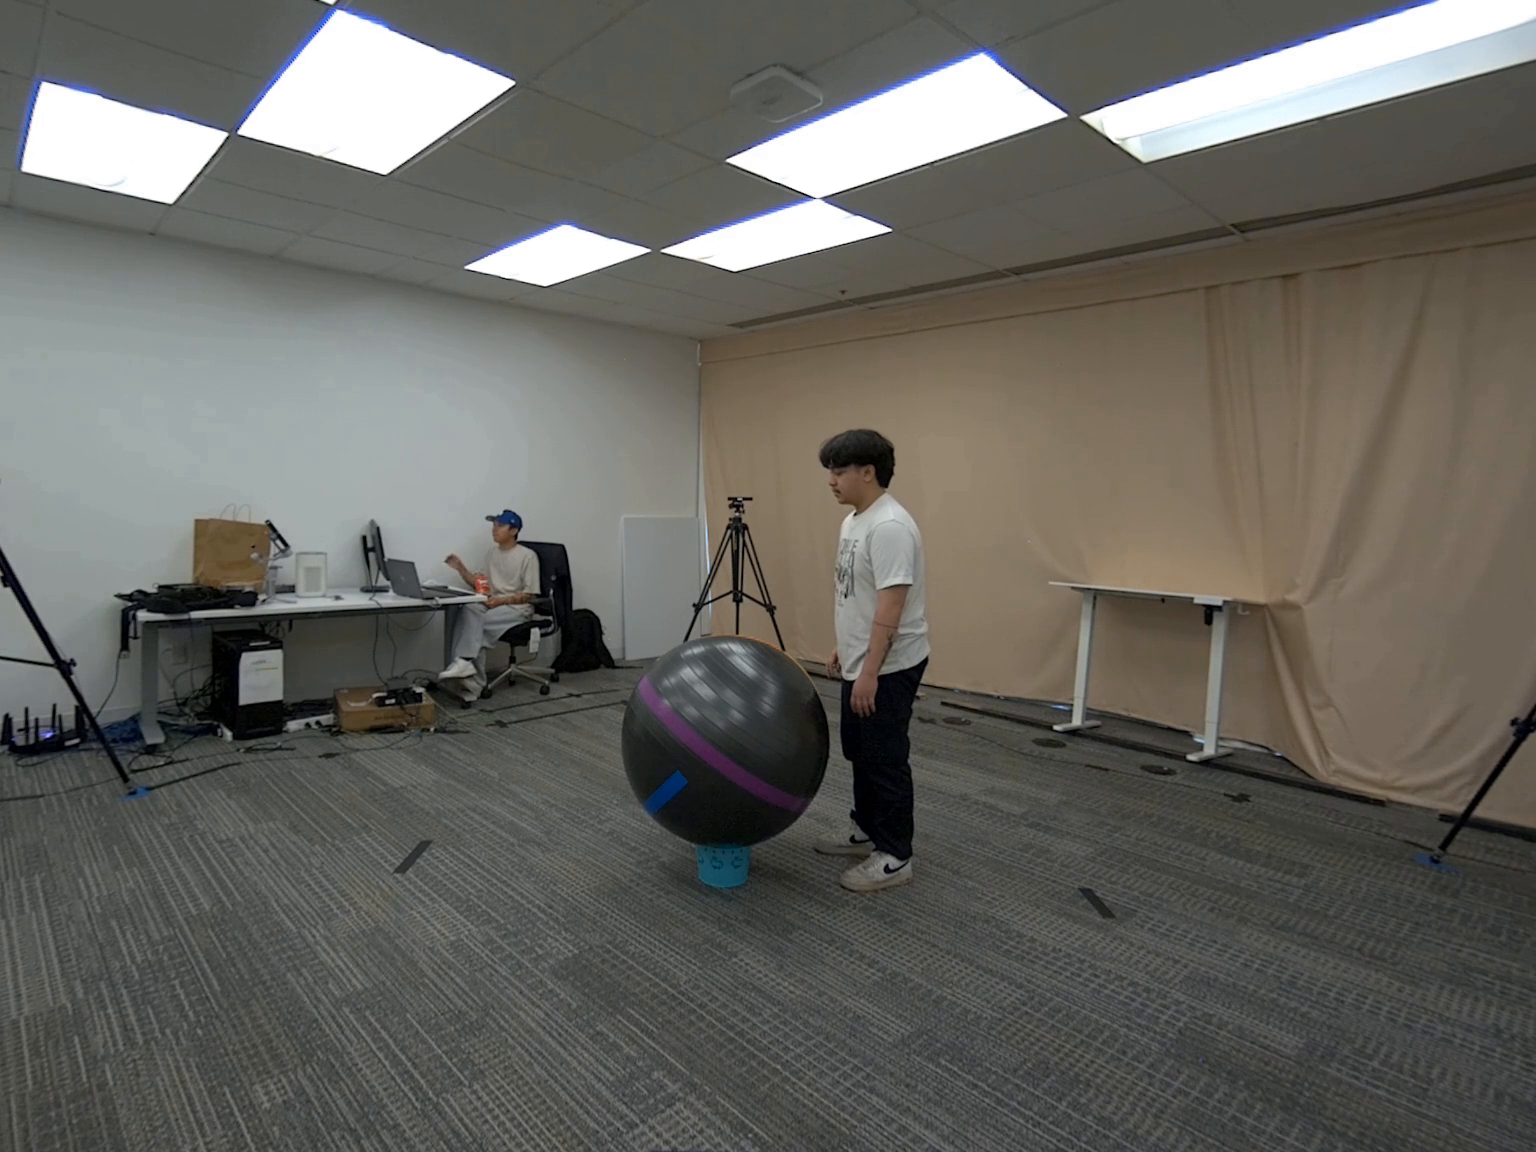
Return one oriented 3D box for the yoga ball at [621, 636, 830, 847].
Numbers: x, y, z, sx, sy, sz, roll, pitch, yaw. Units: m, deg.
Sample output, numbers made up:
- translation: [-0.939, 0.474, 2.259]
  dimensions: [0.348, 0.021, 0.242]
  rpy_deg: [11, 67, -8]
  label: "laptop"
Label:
- translation: [-0.164, 0.600, 3.088]
  dimensions: [0.757, 0.756, 0.761]
  rpy_deg: [1, 4, -1]
  label: "yoga ball"
